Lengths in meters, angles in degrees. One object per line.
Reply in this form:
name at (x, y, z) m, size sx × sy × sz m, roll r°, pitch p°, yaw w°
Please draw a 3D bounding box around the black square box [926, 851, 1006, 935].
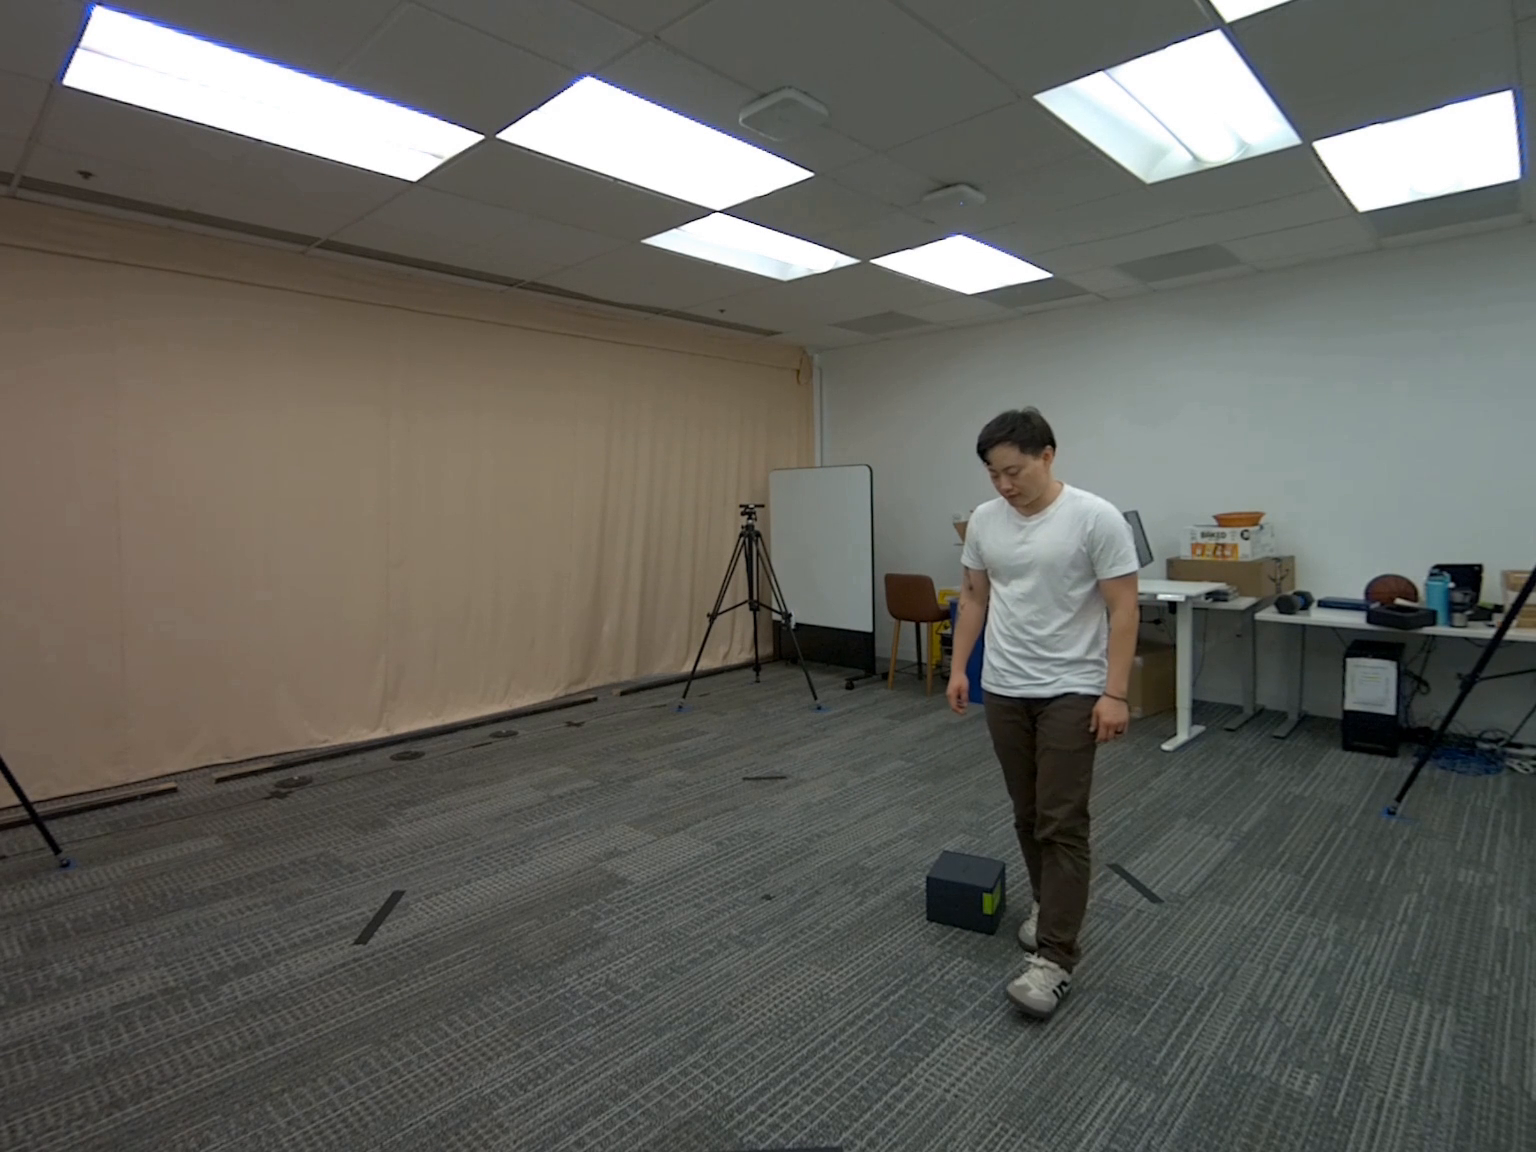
black square box at (0.674, 1.058, 2.832) m, size 0.223 × 0.155 × 0.222 m, roll 1°, pitch 5°, yaw 27°
